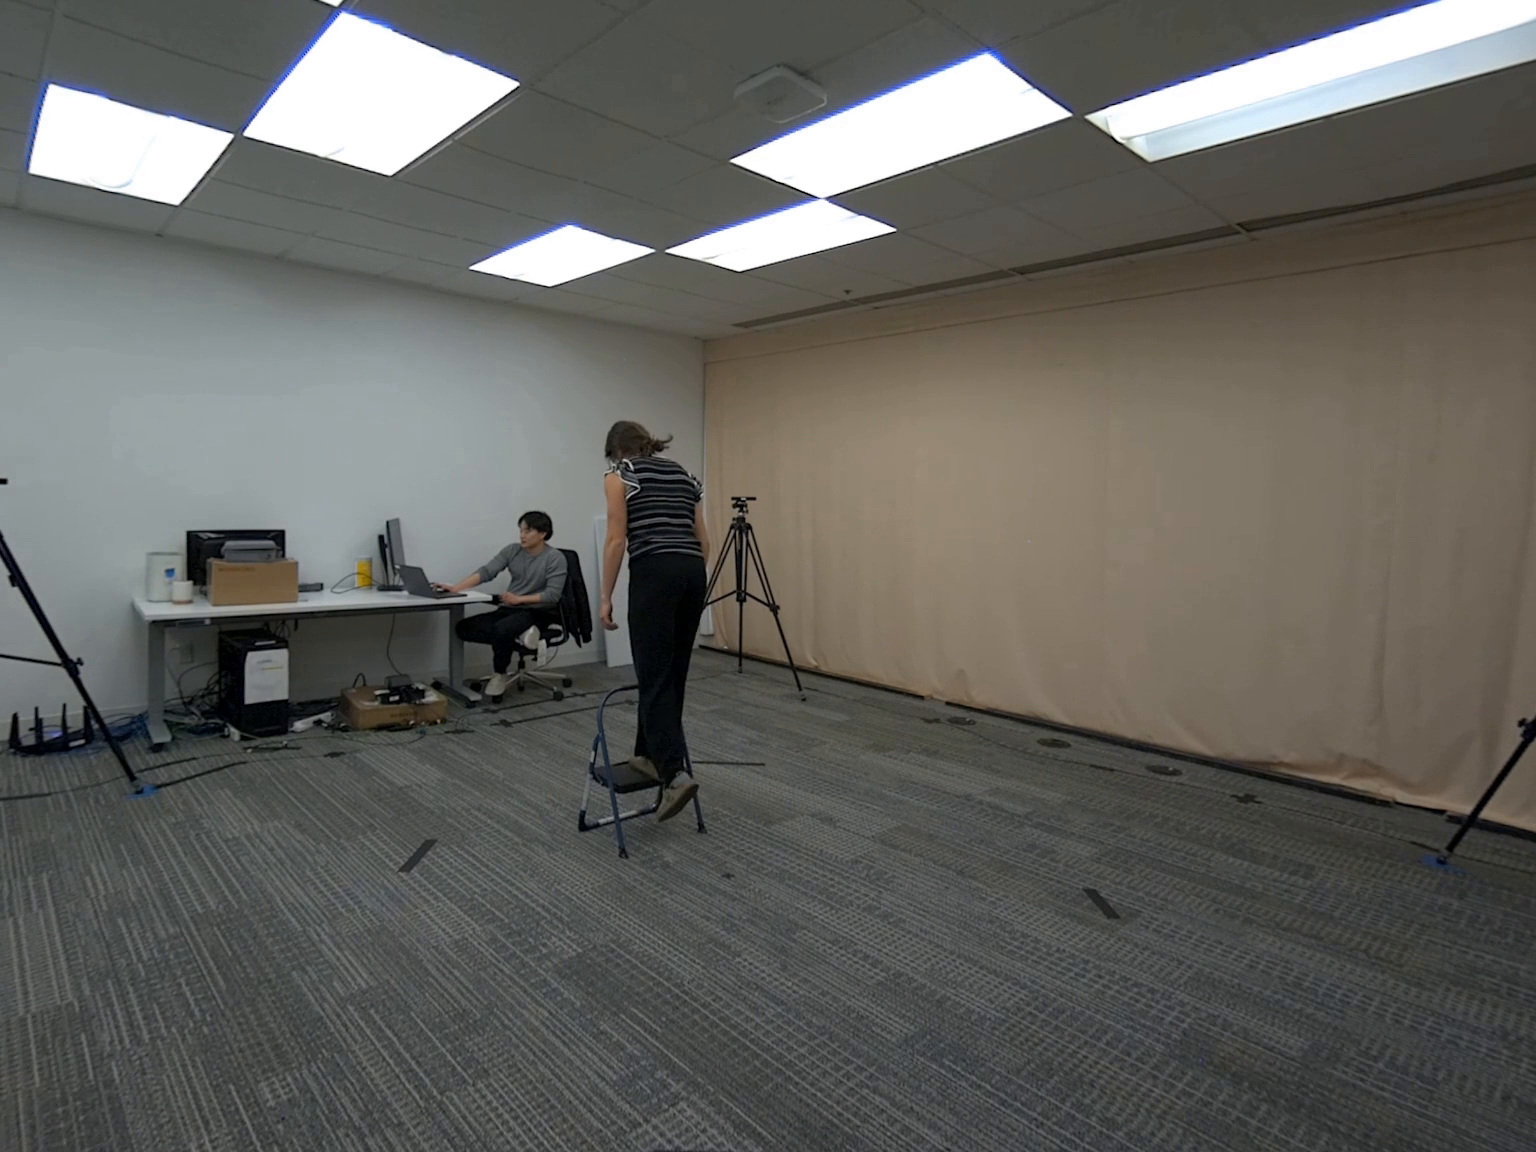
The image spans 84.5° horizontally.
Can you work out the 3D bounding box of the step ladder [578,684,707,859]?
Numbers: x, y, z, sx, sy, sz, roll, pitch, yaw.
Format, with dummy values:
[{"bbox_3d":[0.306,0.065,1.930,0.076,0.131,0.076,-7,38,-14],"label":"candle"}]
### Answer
[{"bbox_3d":[-0.523,0.763,3.485,0.421,0.605,0.358,-2,5,-44],"label":"step ladder"}]
